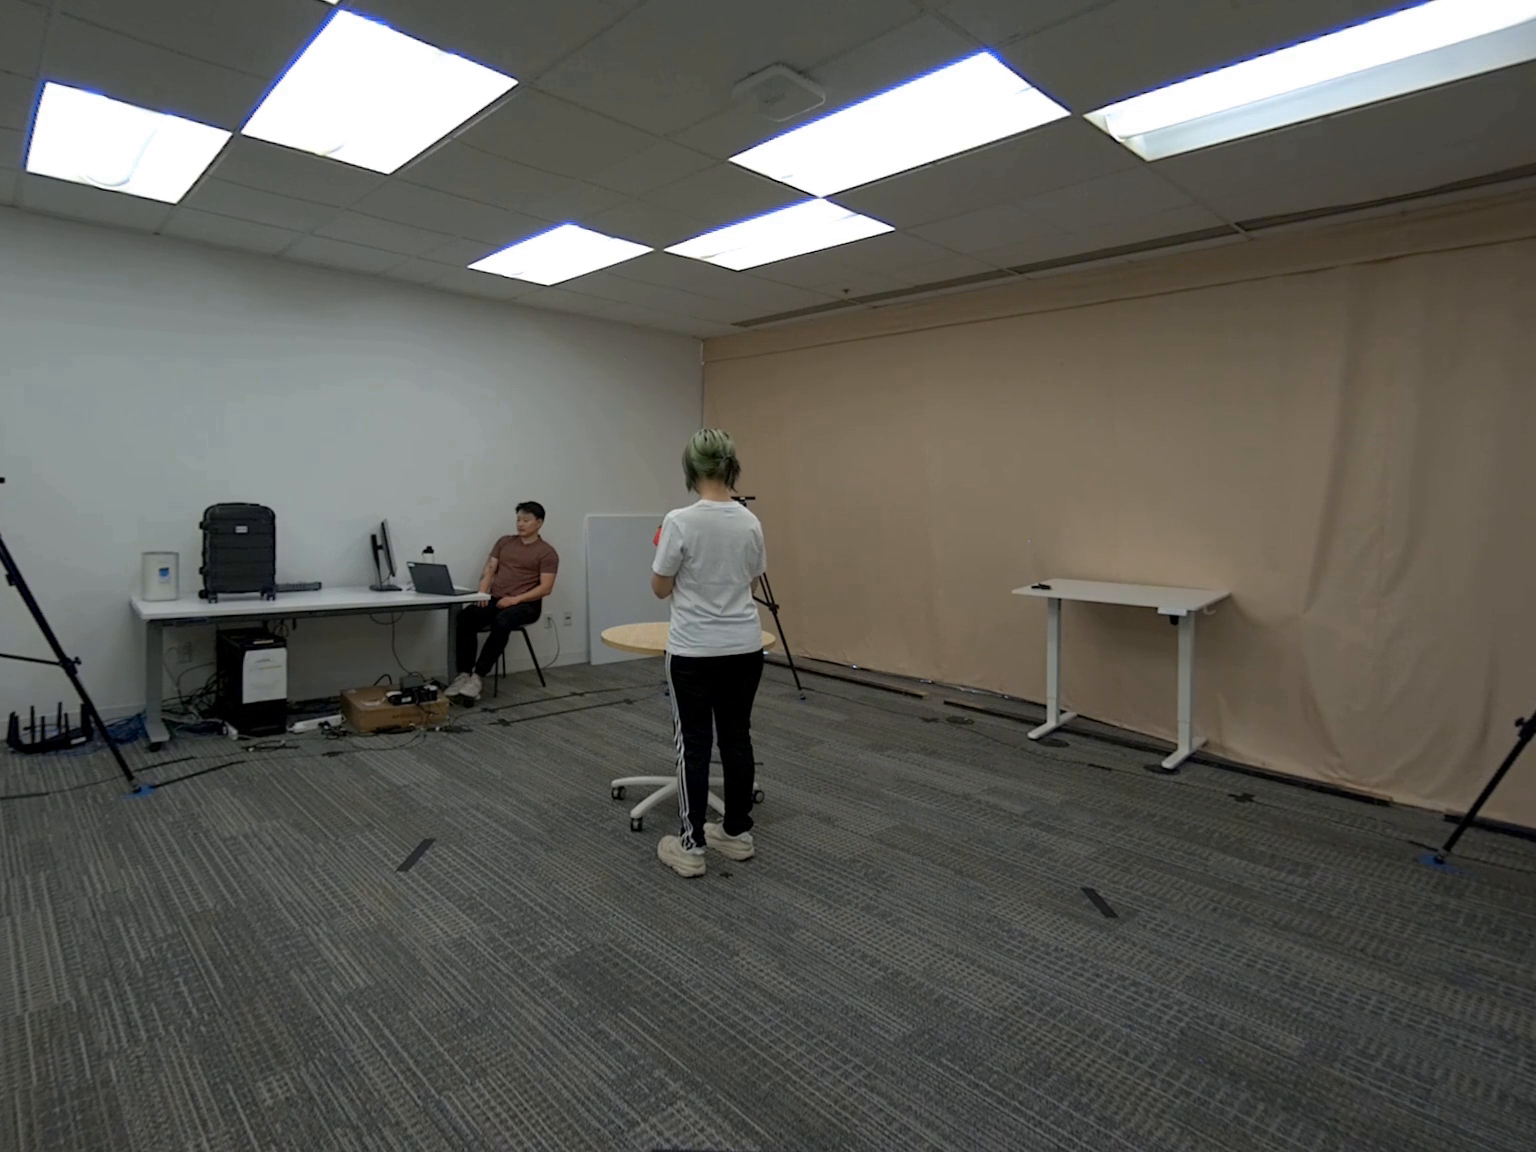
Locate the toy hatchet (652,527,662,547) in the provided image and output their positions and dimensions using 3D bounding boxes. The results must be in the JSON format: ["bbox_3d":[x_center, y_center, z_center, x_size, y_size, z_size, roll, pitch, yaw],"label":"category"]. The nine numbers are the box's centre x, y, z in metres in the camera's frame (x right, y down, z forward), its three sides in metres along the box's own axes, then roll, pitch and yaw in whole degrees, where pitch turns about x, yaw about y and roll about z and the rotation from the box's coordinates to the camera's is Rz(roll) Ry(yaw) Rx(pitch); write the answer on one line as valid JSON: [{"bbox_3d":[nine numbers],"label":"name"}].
[{"bbox_3d":[-0.395,-0.090,3.449,0.132,0.274,0.029,-27,-17,21],"label":"toy hatchet"}]
